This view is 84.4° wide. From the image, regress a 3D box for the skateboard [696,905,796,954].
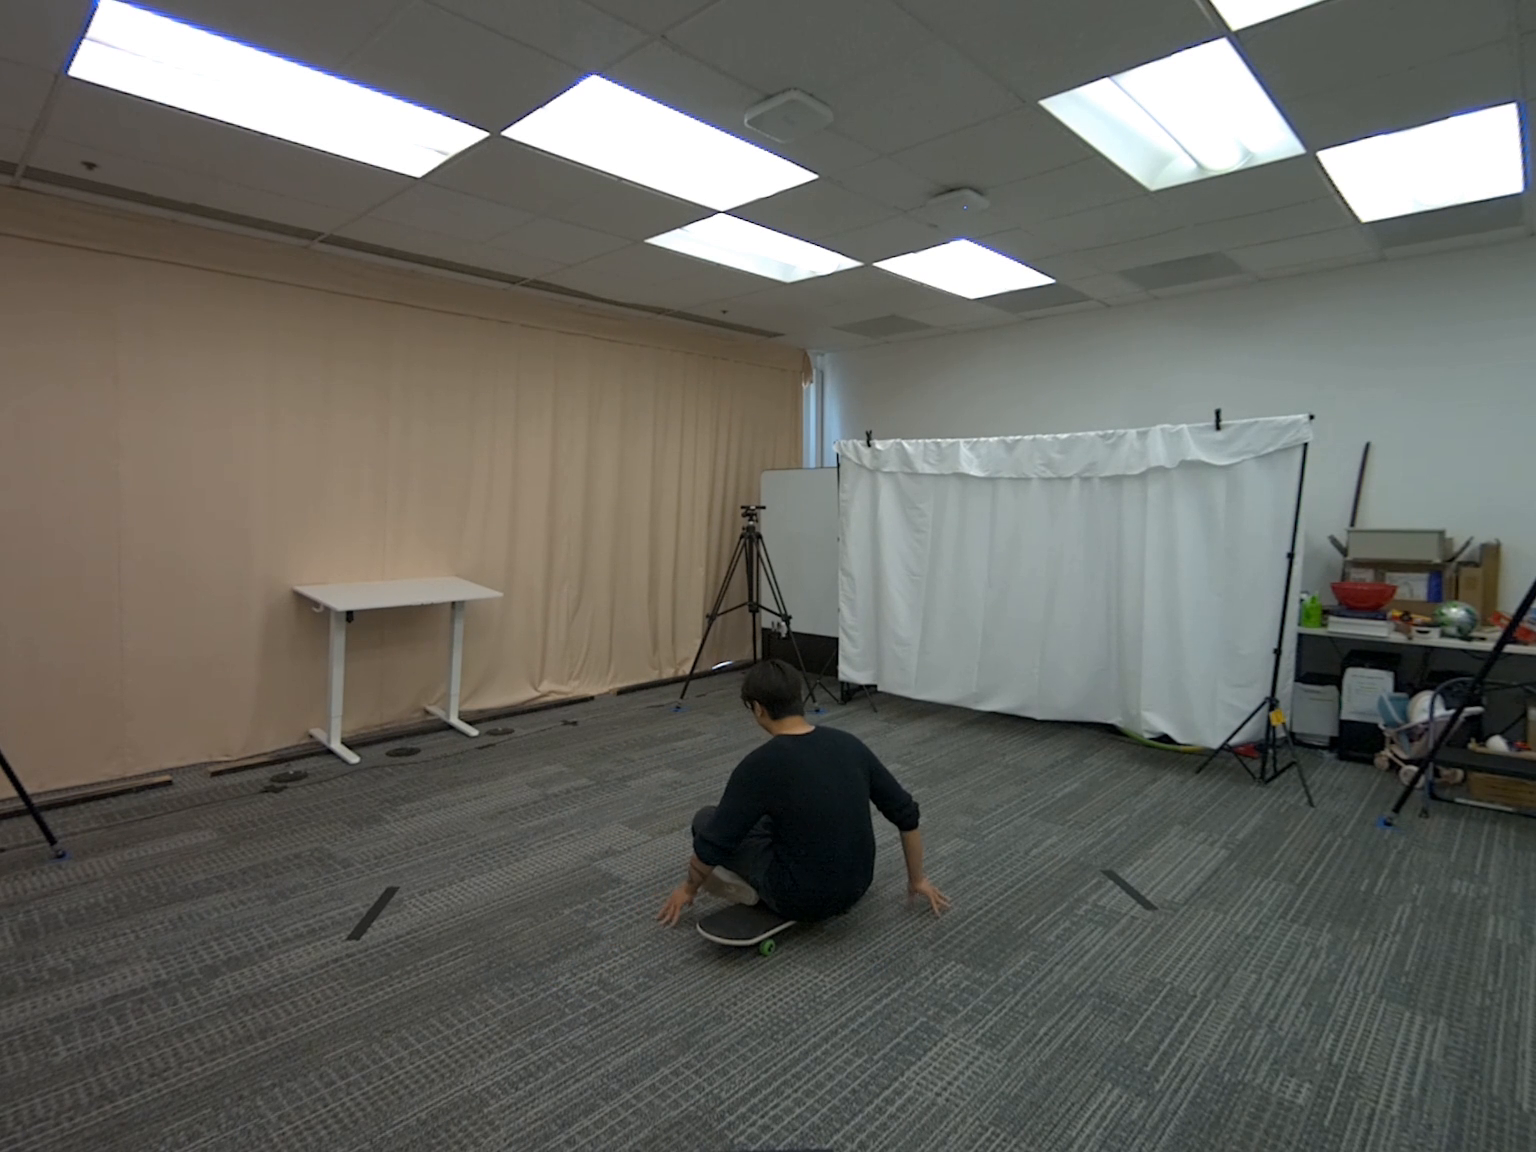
[{"bbox_3d":[0.063,1.111,2.814,0.200,0.110,0.762,6,8,40],"label":"skateboard"}]
